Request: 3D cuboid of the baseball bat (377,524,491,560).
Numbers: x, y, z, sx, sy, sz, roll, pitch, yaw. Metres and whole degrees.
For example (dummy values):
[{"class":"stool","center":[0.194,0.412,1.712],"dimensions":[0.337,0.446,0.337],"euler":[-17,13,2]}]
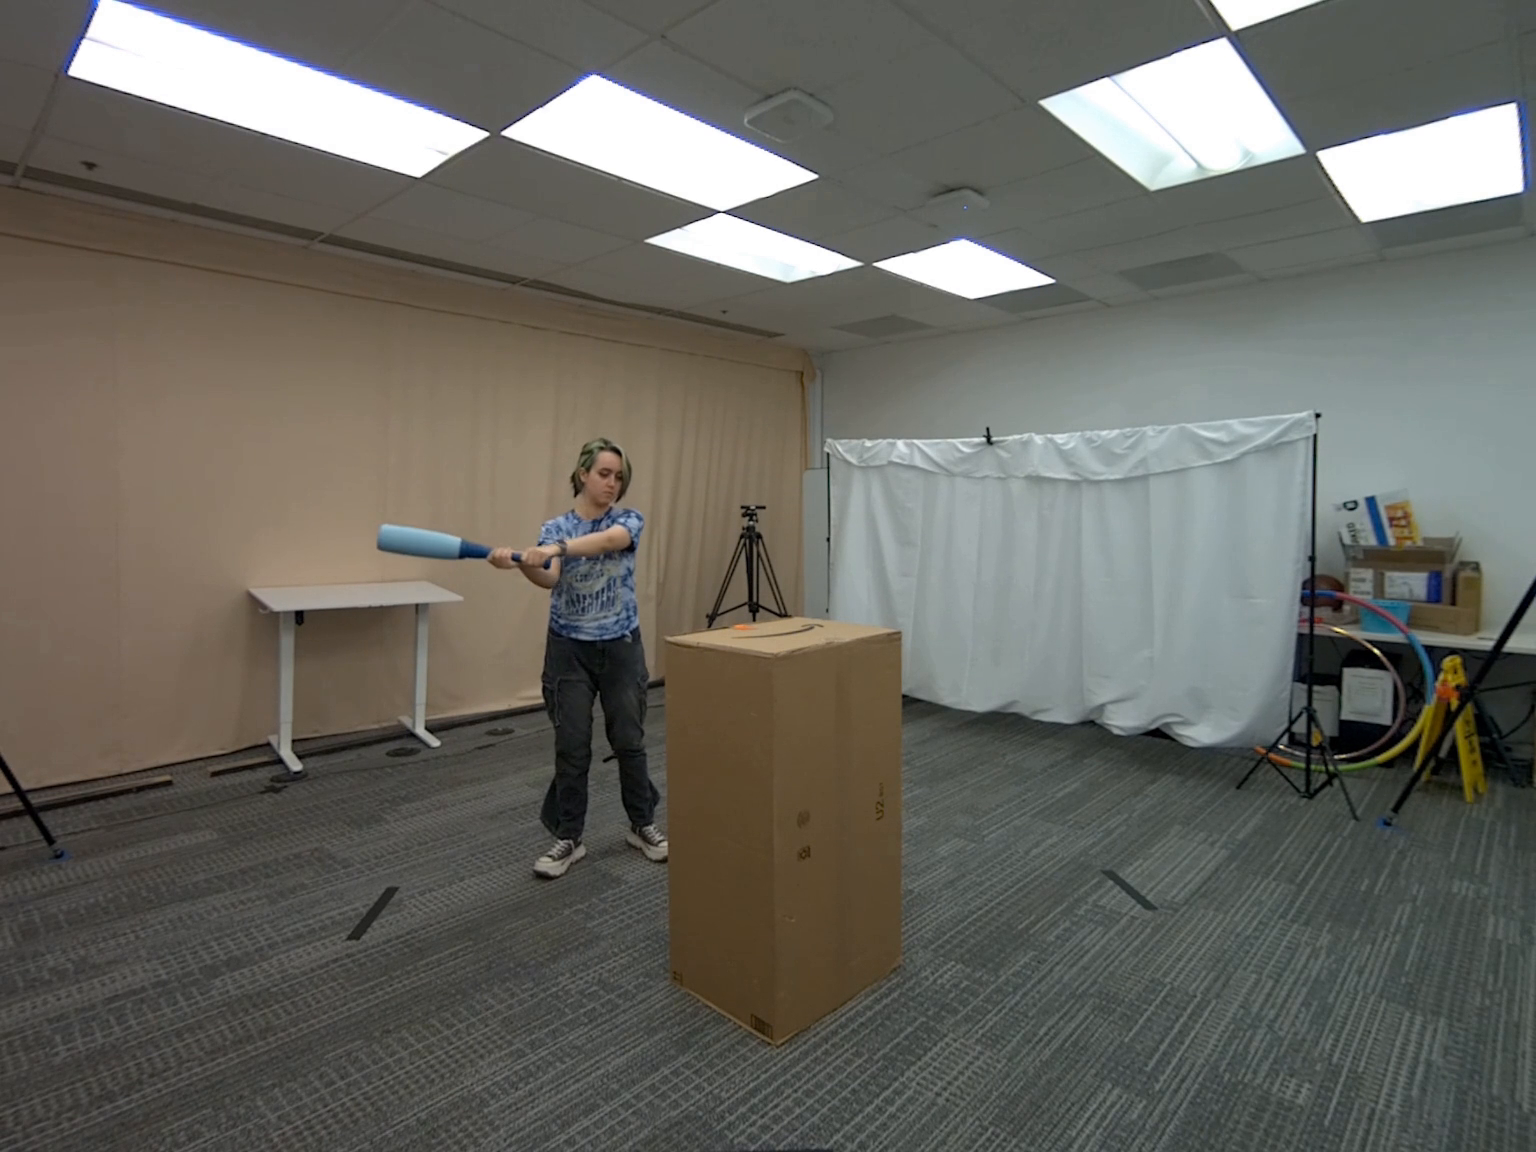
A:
[{"class":"baseball bat","center":[-0.951,-0.083,2.714],"dimensions":[0.534,0.089,0.090],"euler":[9,1,-15]}]
